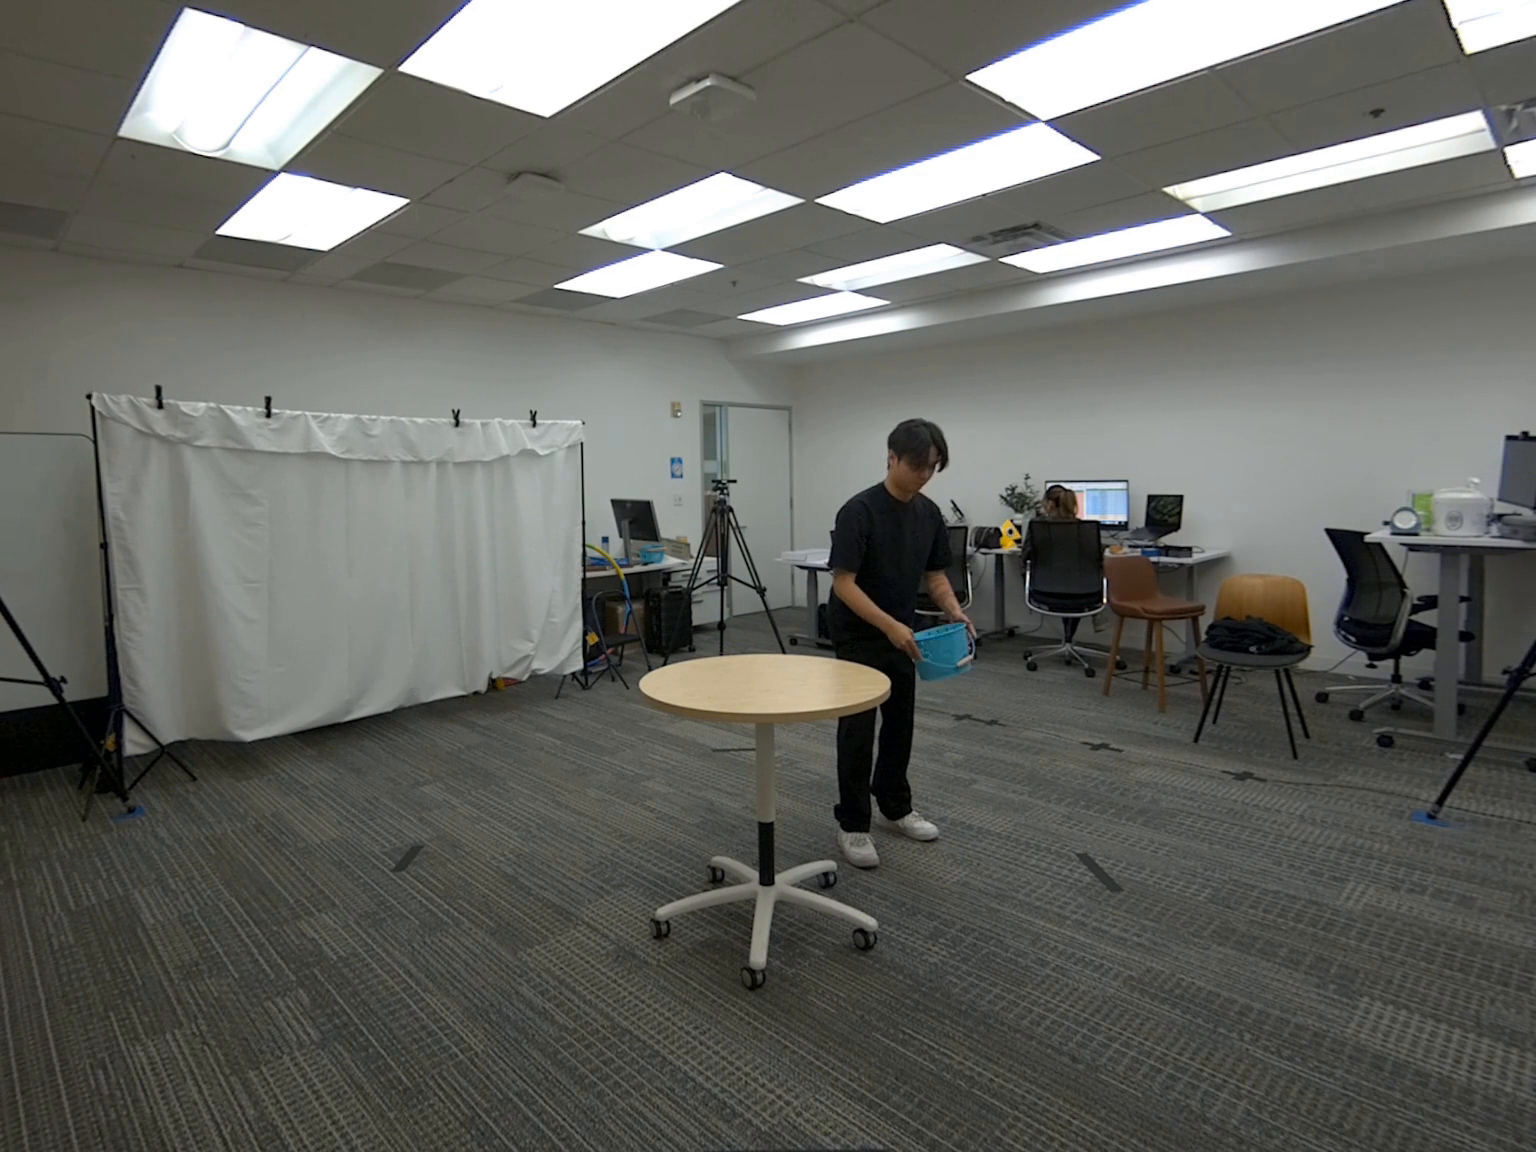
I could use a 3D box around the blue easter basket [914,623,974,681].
[{"bbox_3d":[0.617,0.287,3.052,0.243,0.156,0.243,-15,-2,-2],"label":"blue easter basket"}]
